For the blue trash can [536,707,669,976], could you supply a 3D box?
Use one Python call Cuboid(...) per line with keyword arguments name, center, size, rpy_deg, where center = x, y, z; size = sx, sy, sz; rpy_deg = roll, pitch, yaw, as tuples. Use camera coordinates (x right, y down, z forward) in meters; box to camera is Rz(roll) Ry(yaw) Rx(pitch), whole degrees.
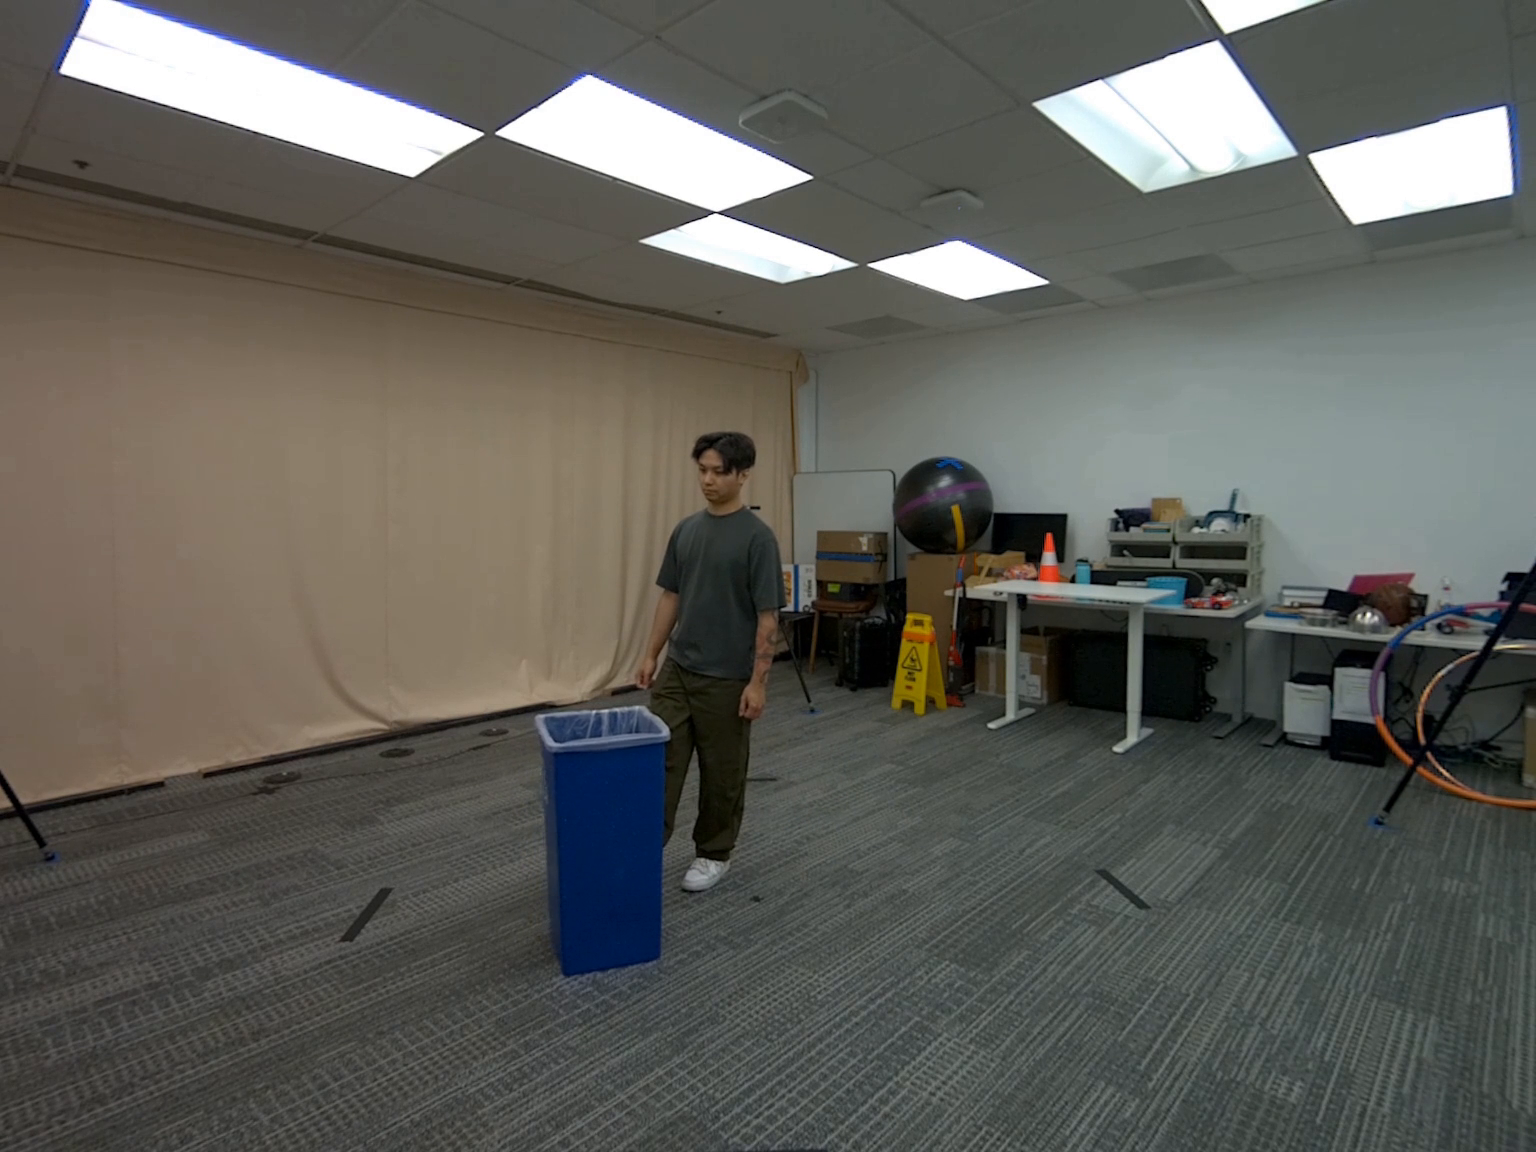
Cuboid(name="blue trash can", center=(-0.532, 0.823, 2.652), size=(0.367, 0.711, 0.386), rpy_deg=(-3, 5, -20))
